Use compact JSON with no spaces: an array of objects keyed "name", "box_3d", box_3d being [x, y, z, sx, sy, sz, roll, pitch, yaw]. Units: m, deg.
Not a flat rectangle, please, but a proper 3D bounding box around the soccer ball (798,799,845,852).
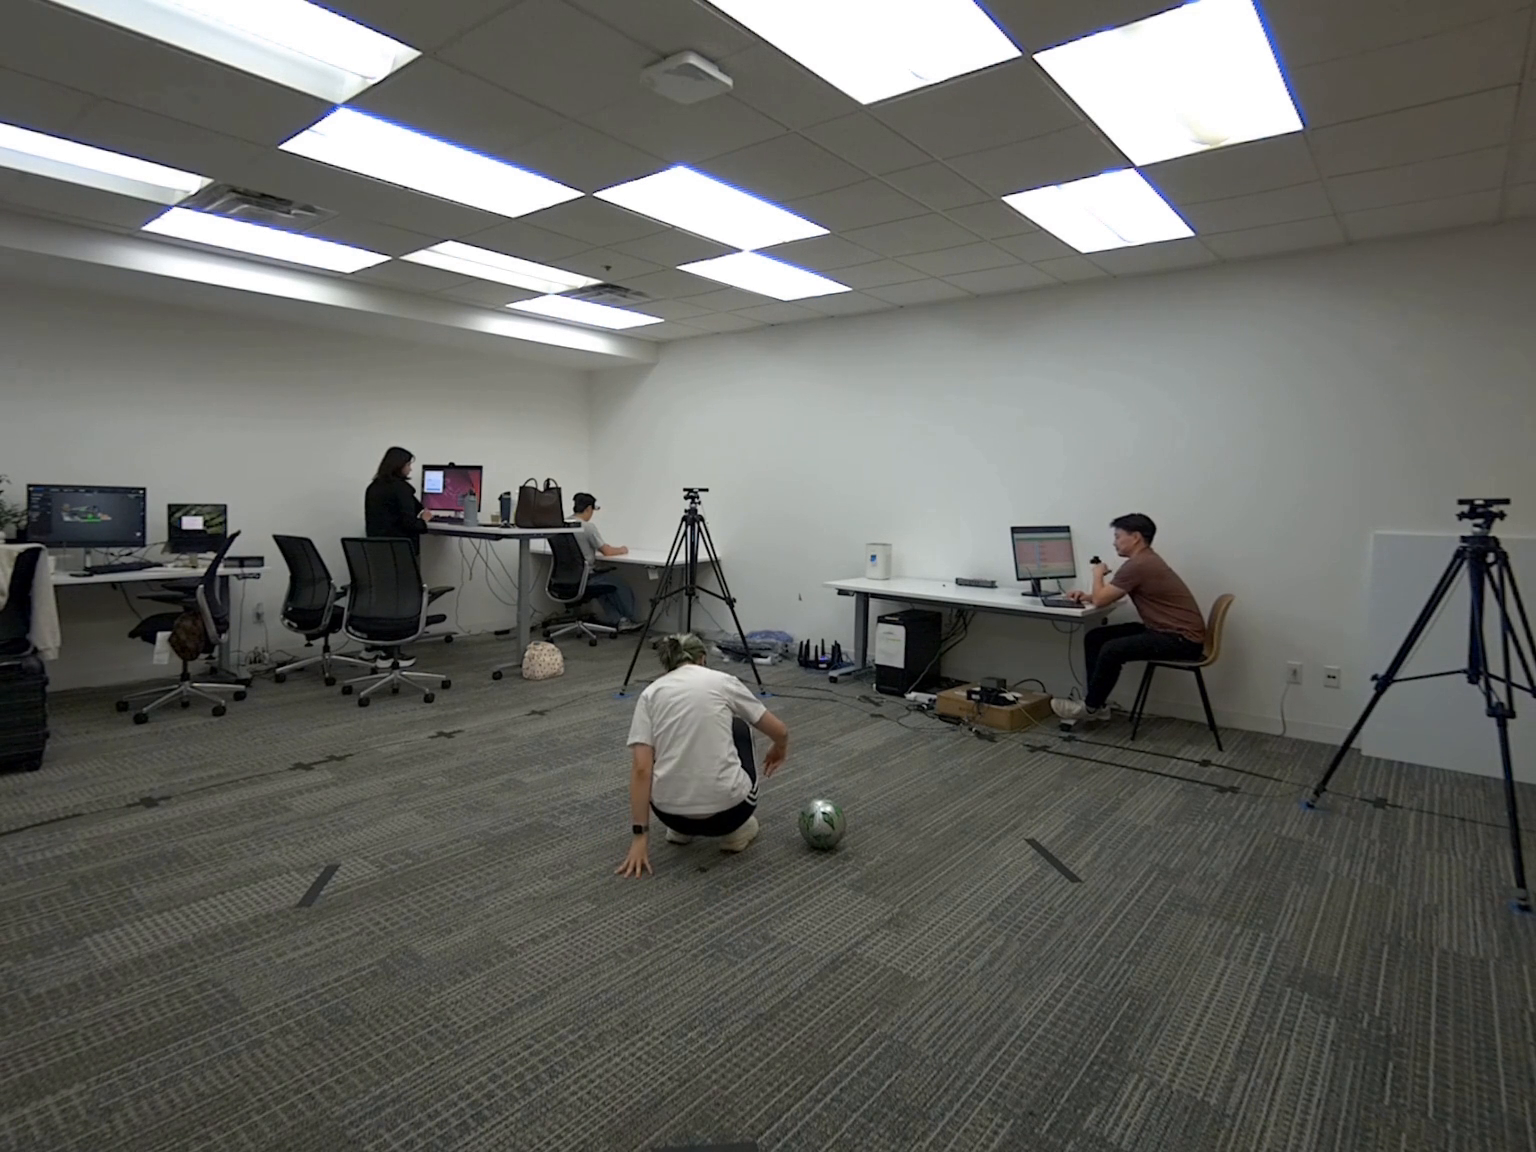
[{"name":"soccer ball","box_3d":[0.208,0.967,3.324,0.187,0.187,0.188,1,4,-2]}]
